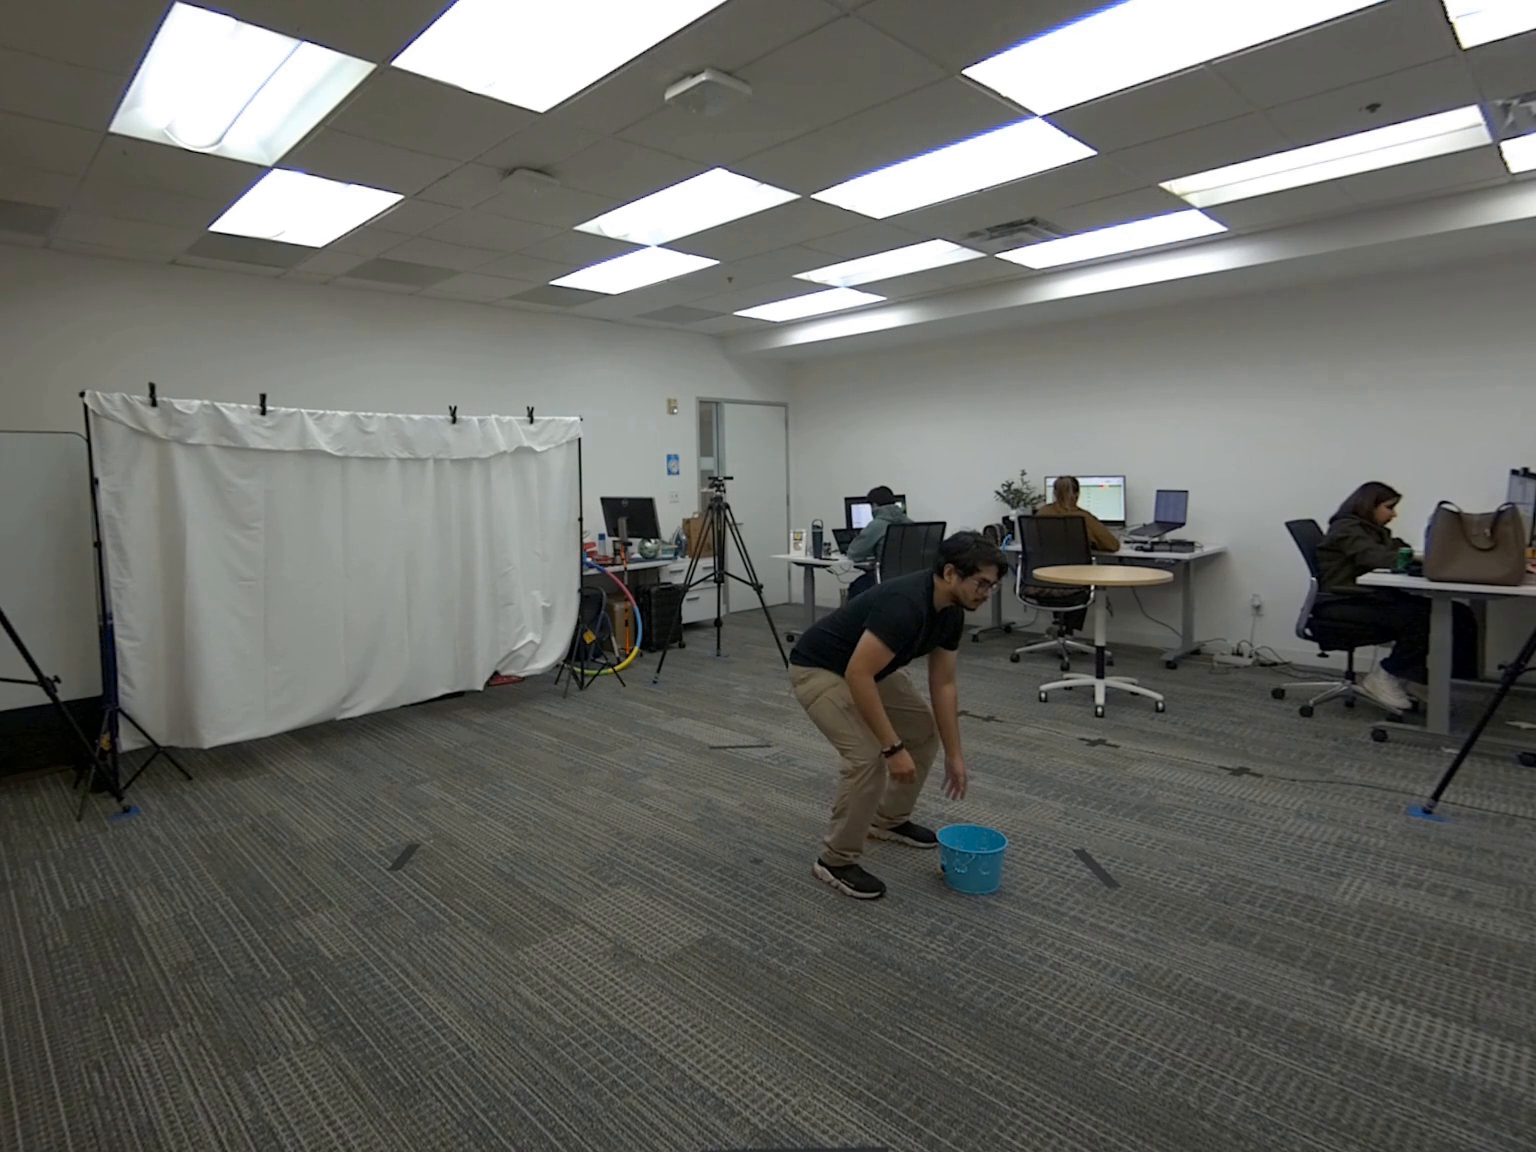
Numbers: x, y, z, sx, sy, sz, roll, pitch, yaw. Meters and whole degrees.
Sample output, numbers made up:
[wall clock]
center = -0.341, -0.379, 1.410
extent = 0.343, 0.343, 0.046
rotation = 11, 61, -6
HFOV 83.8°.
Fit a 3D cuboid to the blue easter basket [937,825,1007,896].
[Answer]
[blue easter basket]
center = 0.693, 0.963, 2.922
extent = 0.243, 0.155, 0.245
rotation = -1, 6, -2
